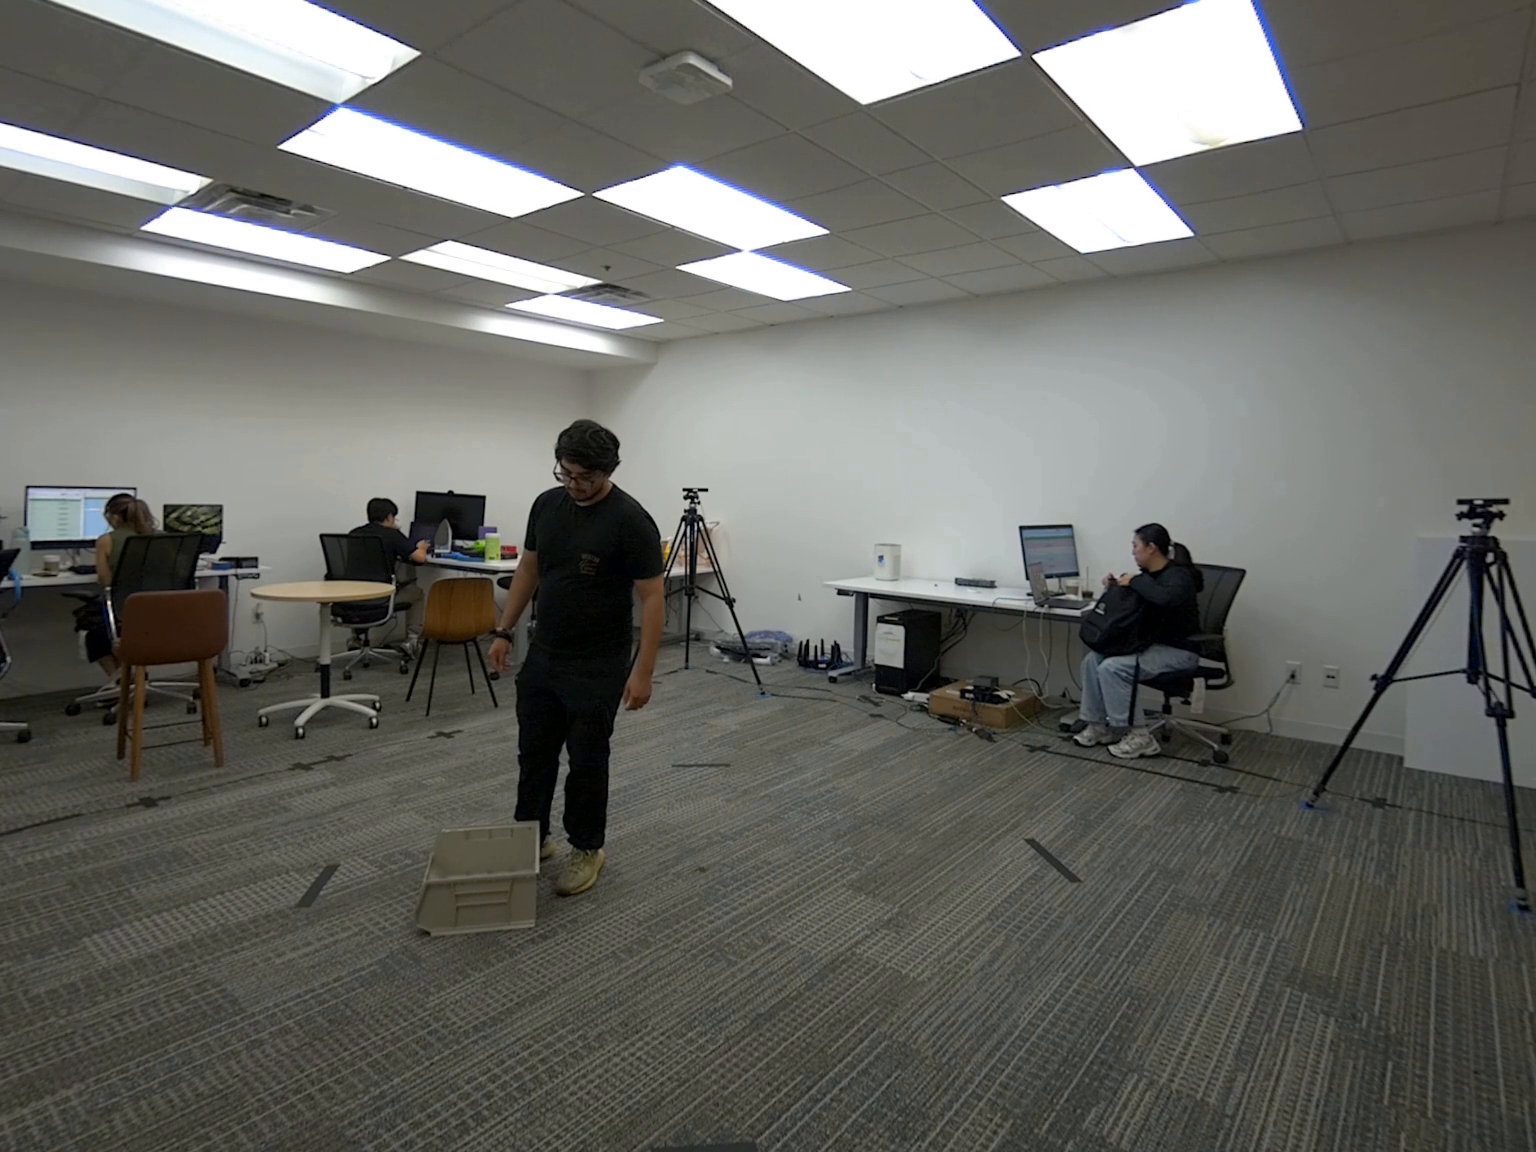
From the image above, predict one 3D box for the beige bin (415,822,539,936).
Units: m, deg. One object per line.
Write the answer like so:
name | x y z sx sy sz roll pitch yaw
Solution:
beige bin | -0.968 1.001 2.830 0.372 0.188 0.429 0 5 -14
